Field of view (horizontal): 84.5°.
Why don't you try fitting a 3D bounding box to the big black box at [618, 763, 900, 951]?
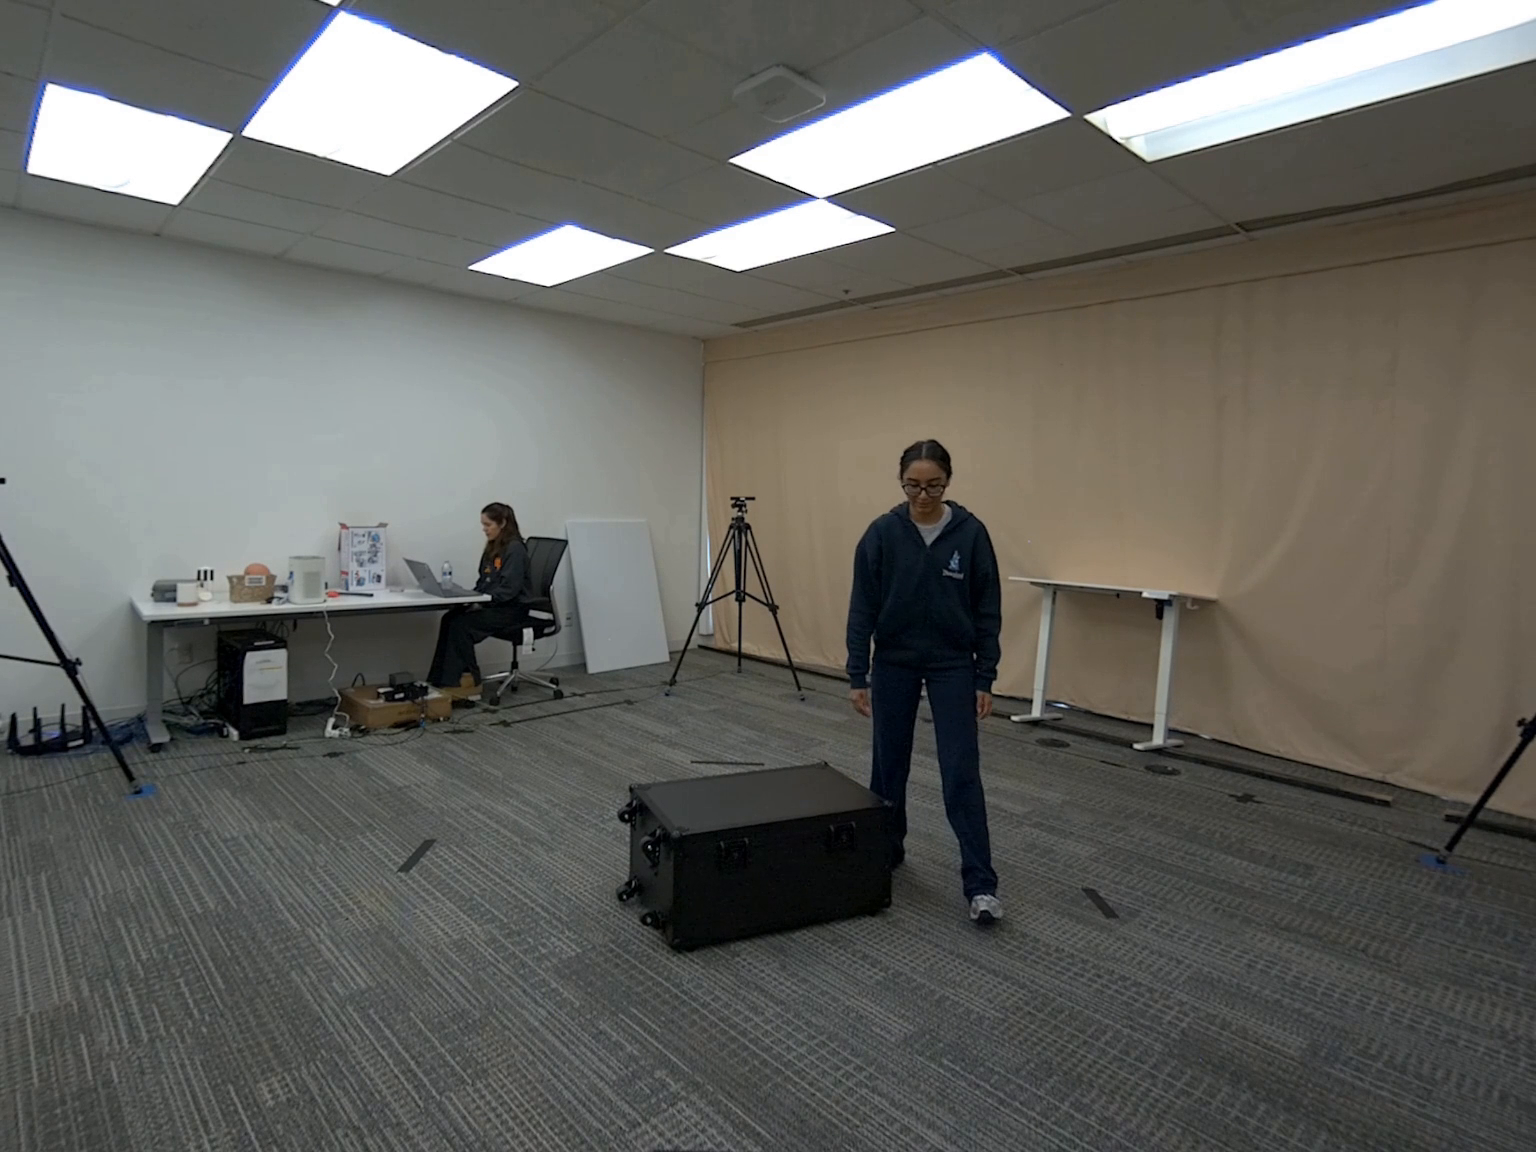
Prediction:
[{"bbox_3d":[-0.070,0.960,2.862,0.846,0.520,0.404,0,4,-25],"label":"big black box"}]
